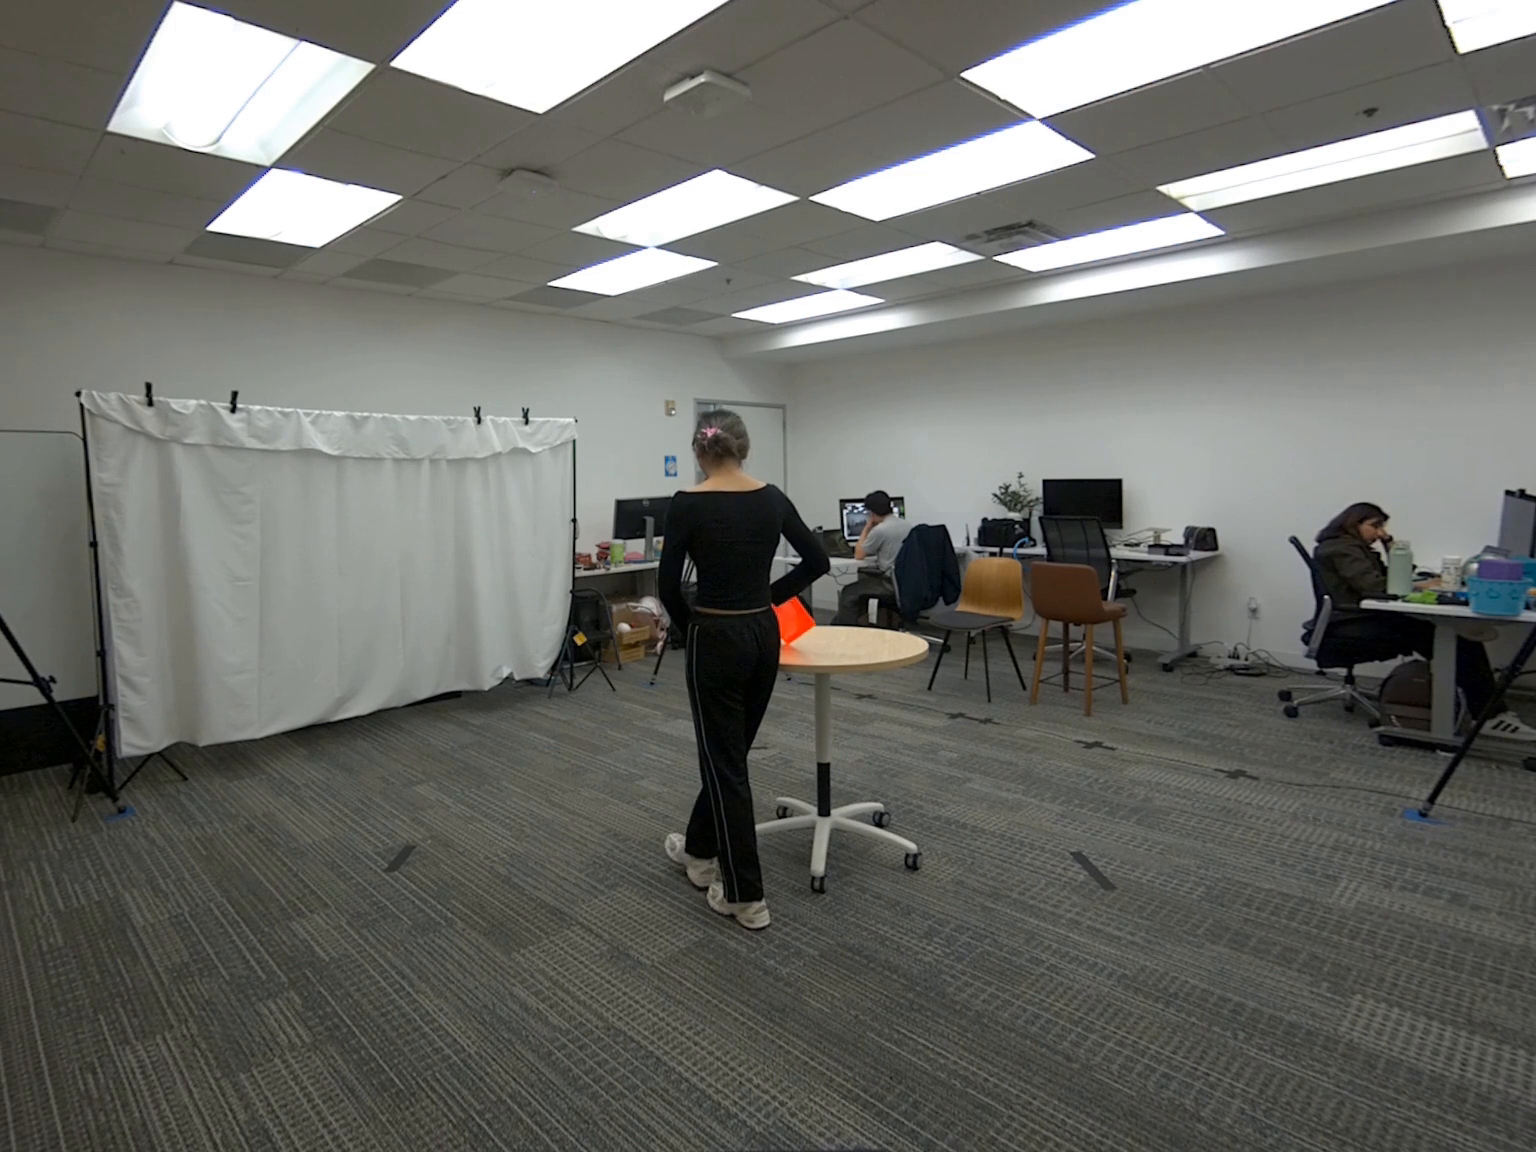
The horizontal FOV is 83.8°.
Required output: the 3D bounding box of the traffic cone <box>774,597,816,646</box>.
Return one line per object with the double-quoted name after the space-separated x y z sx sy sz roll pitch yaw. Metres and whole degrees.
-0.056 0.209 2.968 0.379 0.207 0.204 -30 -8 -41 "traffic cone"
